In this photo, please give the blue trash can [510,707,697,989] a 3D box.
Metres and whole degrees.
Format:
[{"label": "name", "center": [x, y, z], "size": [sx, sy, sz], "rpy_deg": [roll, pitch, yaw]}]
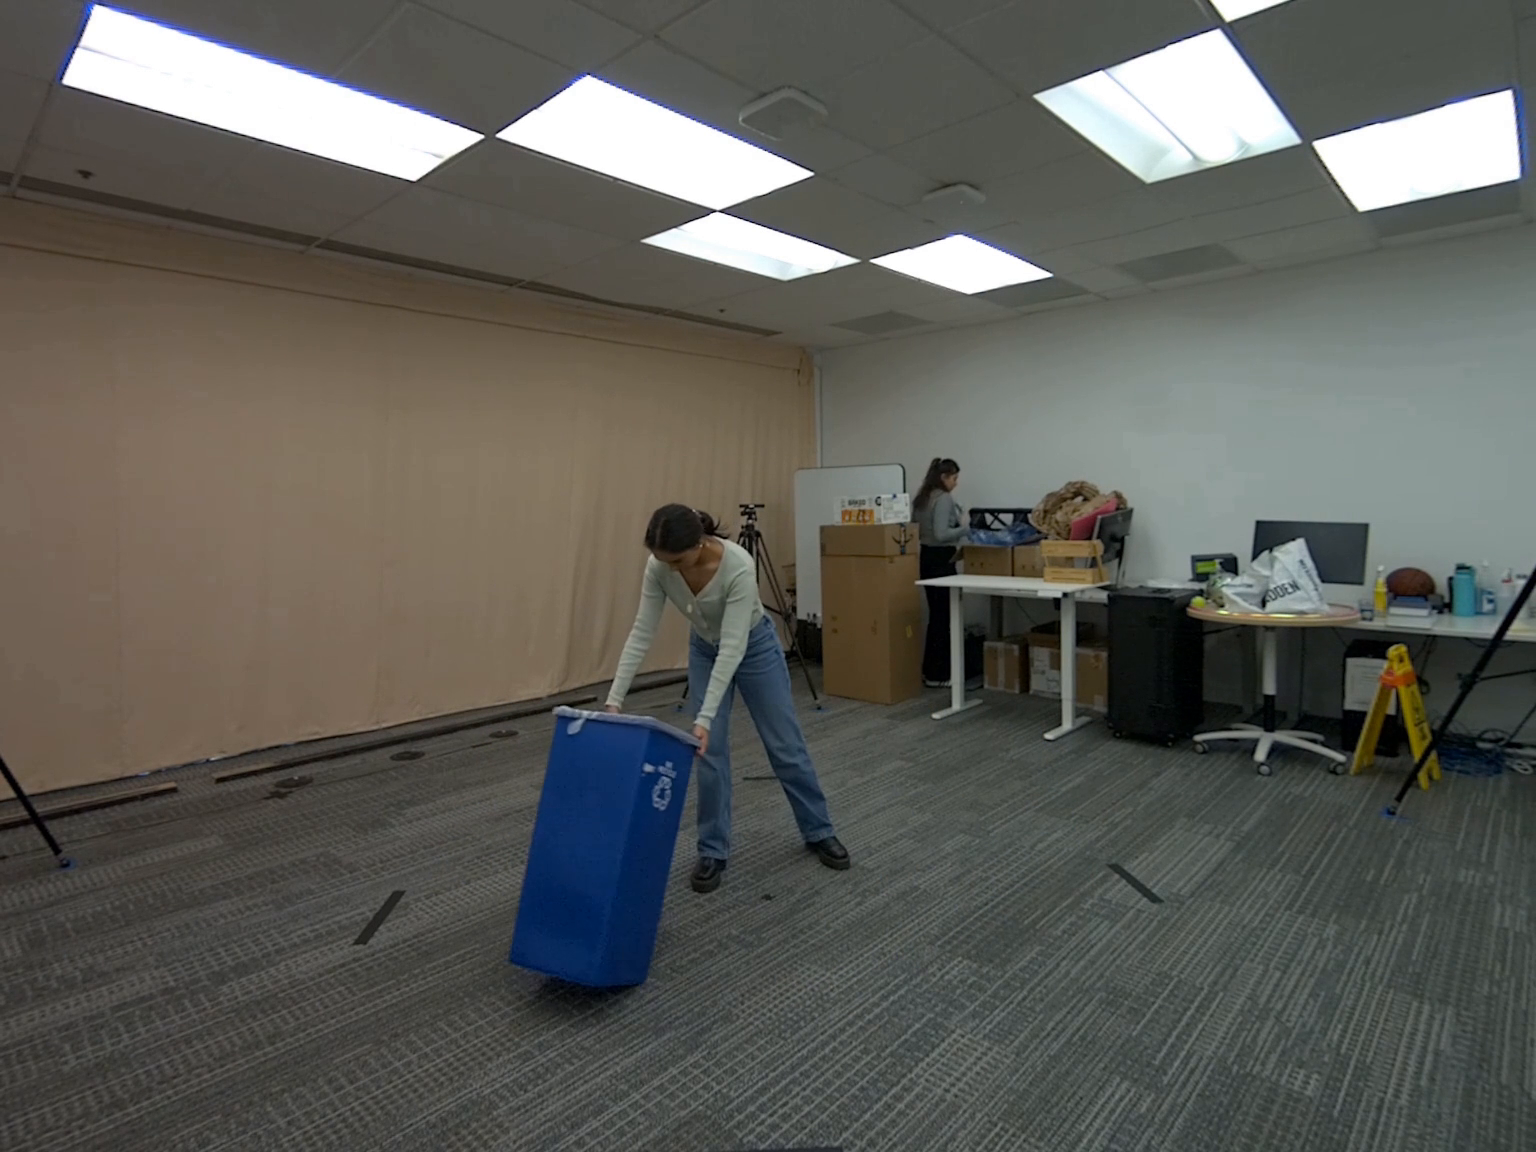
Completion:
[{"label": "blue trash can", "center": [-0.483, 0.805, 2.550], "size": [0.387, 0.719, 0.362], "rpy_deg": [1, -21, 24]}]
